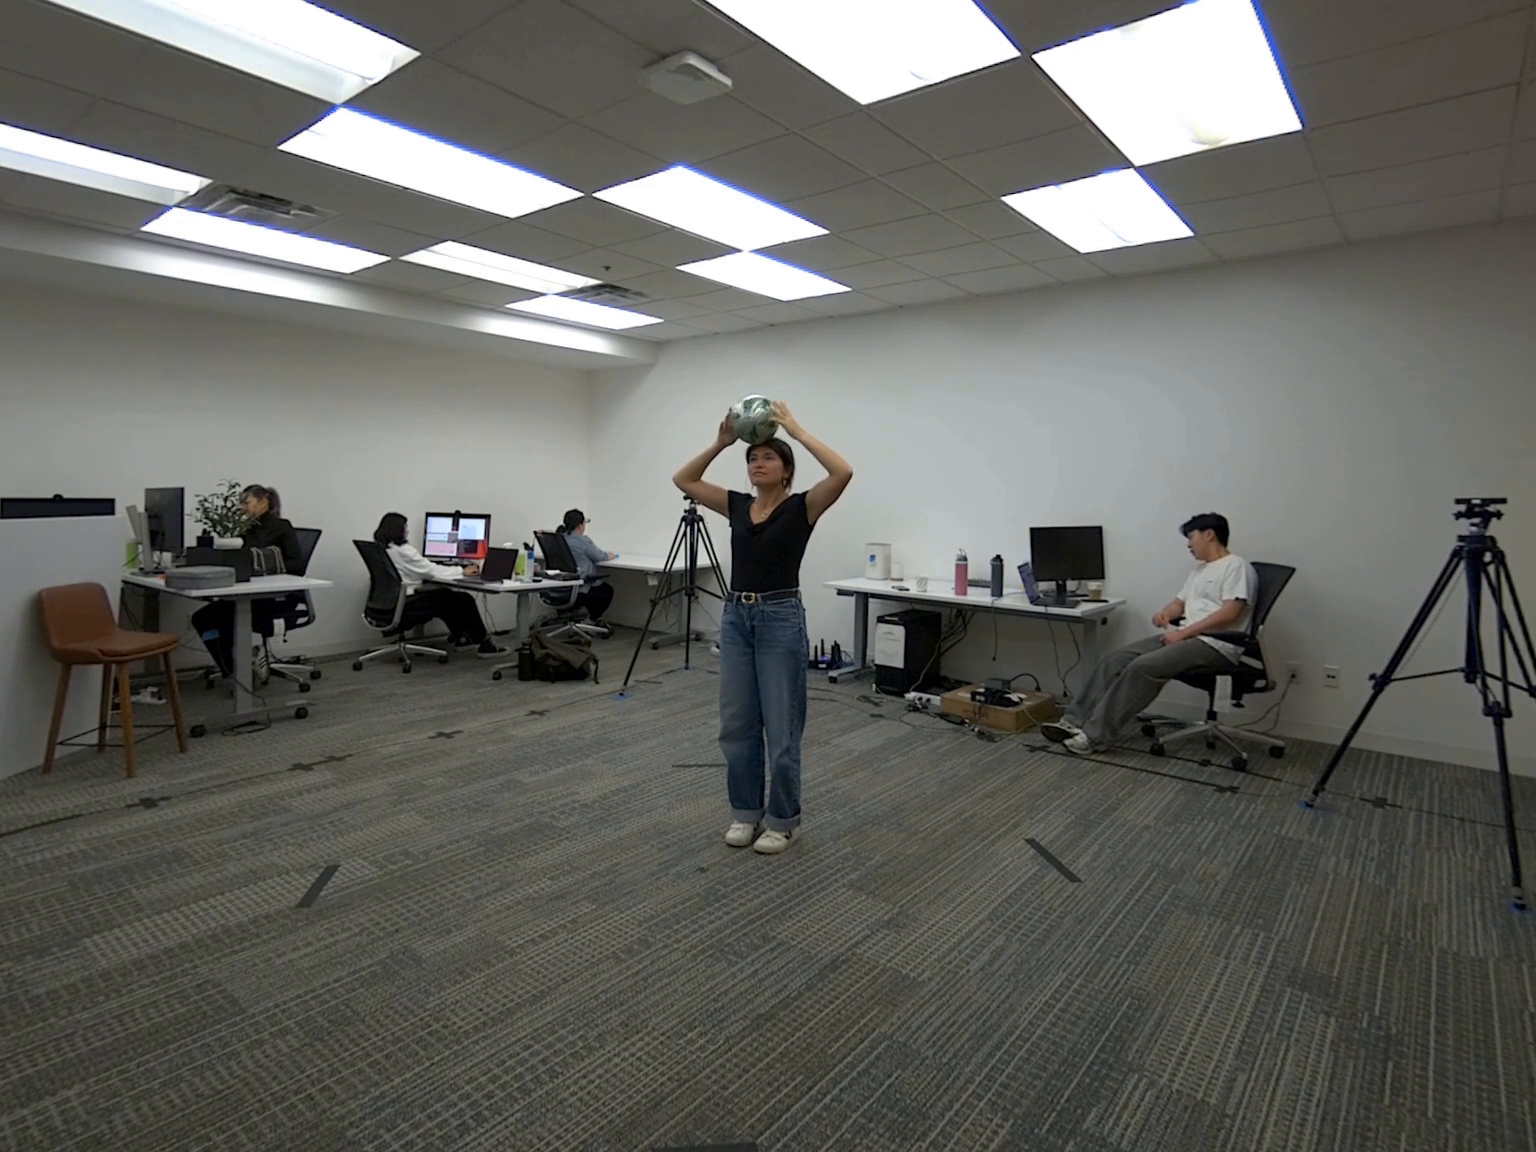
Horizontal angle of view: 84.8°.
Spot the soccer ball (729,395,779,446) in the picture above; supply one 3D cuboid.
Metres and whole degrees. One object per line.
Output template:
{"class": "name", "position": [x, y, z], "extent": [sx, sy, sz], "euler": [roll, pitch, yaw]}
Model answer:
{"class": "soccer ball", "position": [-0.053, -0.603, 3.263], "extent": [0.187, 0.187, 0.188], "euler": [1, 4, -2]}
